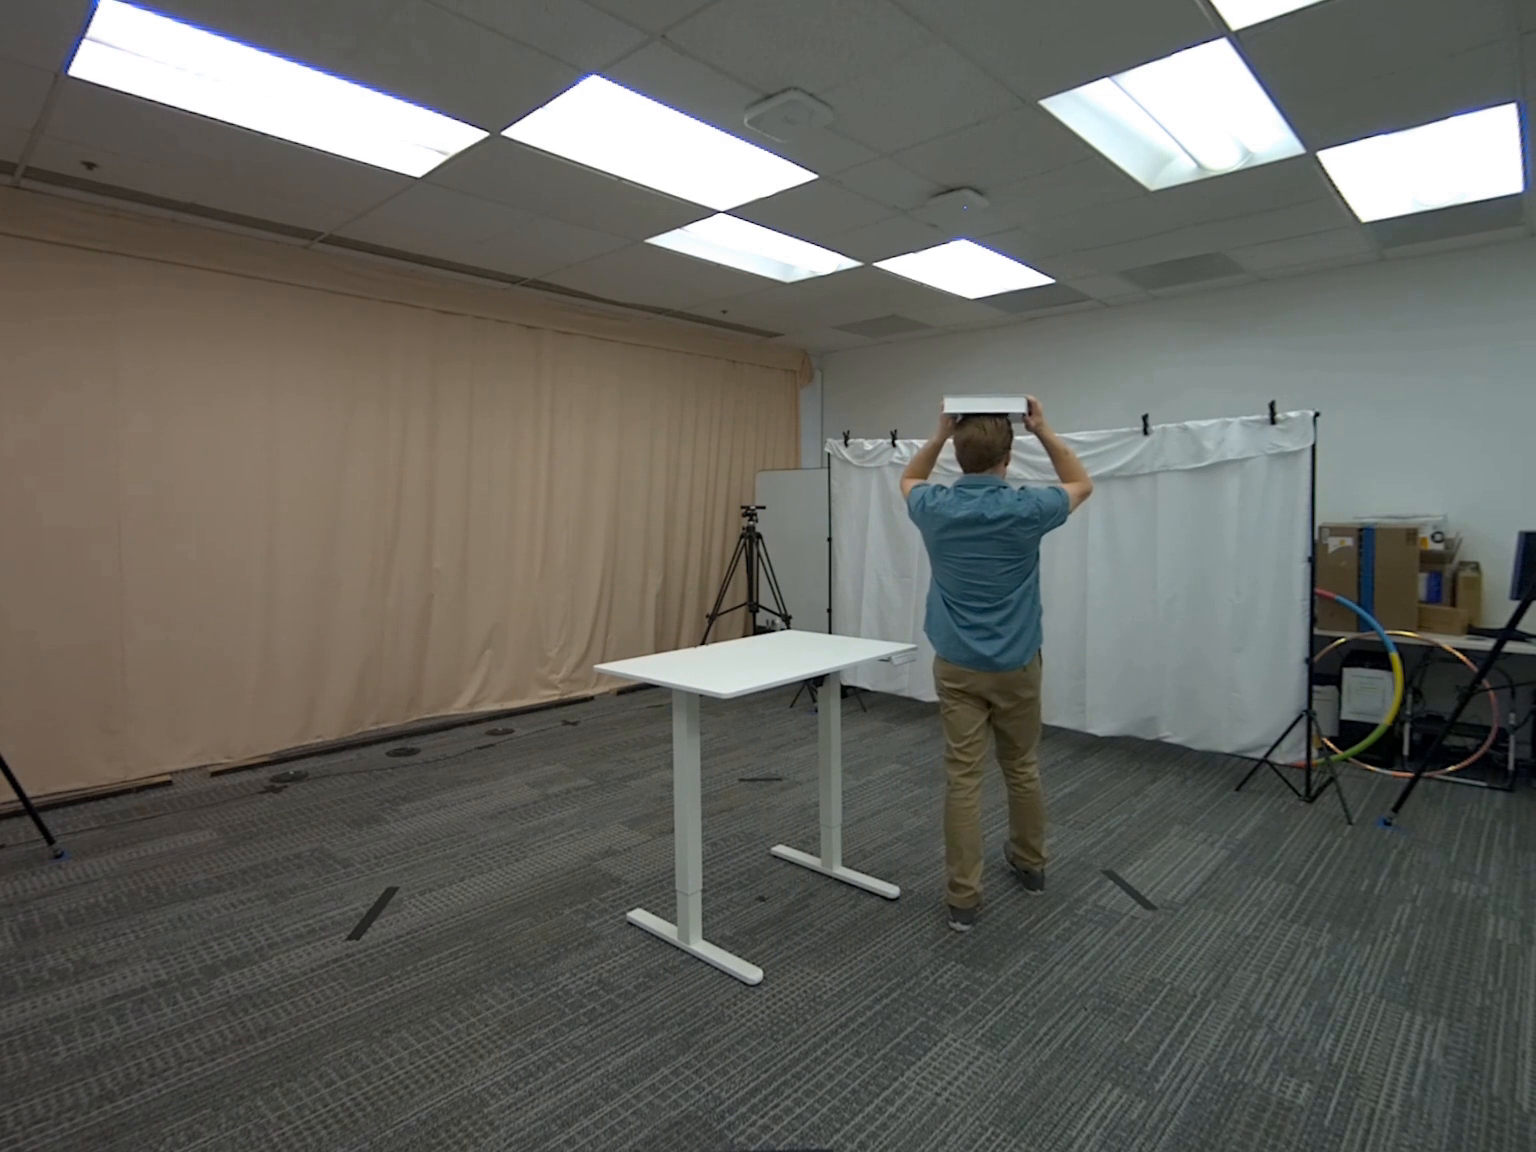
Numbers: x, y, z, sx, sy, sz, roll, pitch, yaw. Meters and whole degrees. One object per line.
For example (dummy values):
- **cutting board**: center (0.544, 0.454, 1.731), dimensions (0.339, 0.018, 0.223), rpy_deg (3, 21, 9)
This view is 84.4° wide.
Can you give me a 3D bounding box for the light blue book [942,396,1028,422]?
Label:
- **light blue book**: center (0.744, -0.557, 2.806), dimensions (0.268, 0.059, 0.187), rpy_deg (5, 1, 23)
